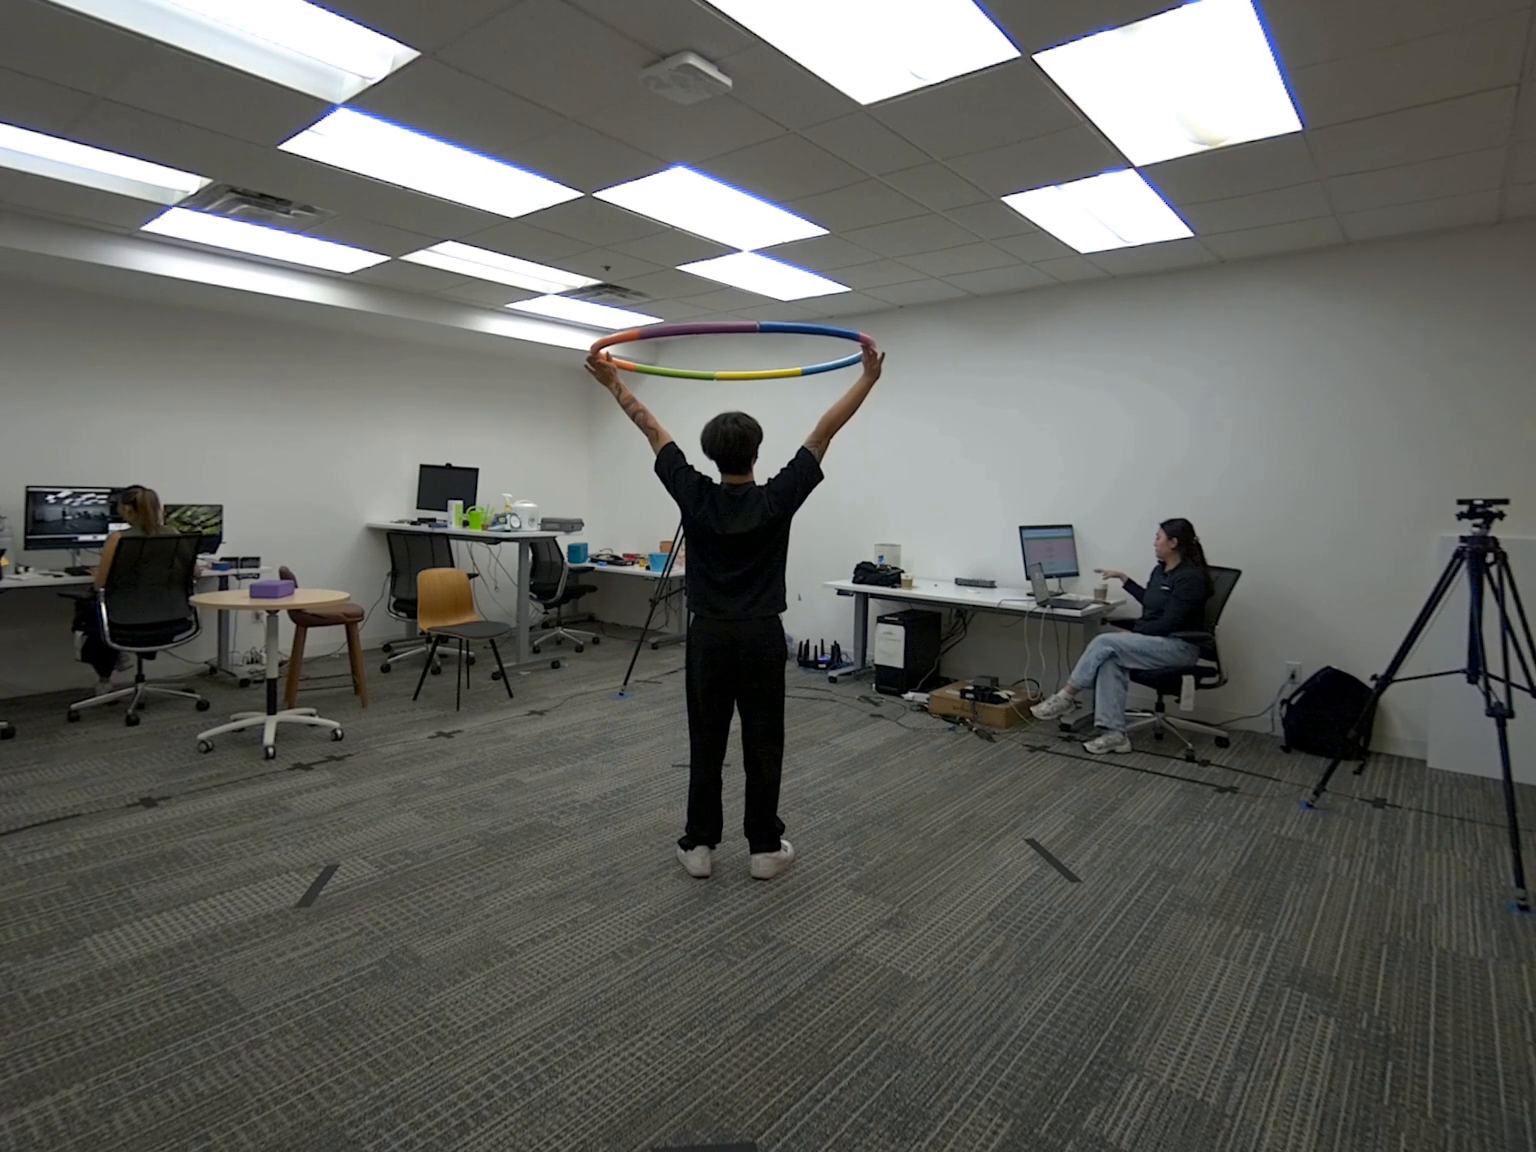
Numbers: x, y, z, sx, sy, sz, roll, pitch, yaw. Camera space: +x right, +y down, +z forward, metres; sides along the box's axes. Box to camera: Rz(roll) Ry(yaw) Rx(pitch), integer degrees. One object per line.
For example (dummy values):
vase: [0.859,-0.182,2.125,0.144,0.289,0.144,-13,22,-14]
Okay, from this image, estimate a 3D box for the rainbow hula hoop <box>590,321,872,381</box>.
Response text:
rainbow hula hoop: [-0.136,-0.790,3.020,0.978,0.035,0.982,-1,4,-2]
